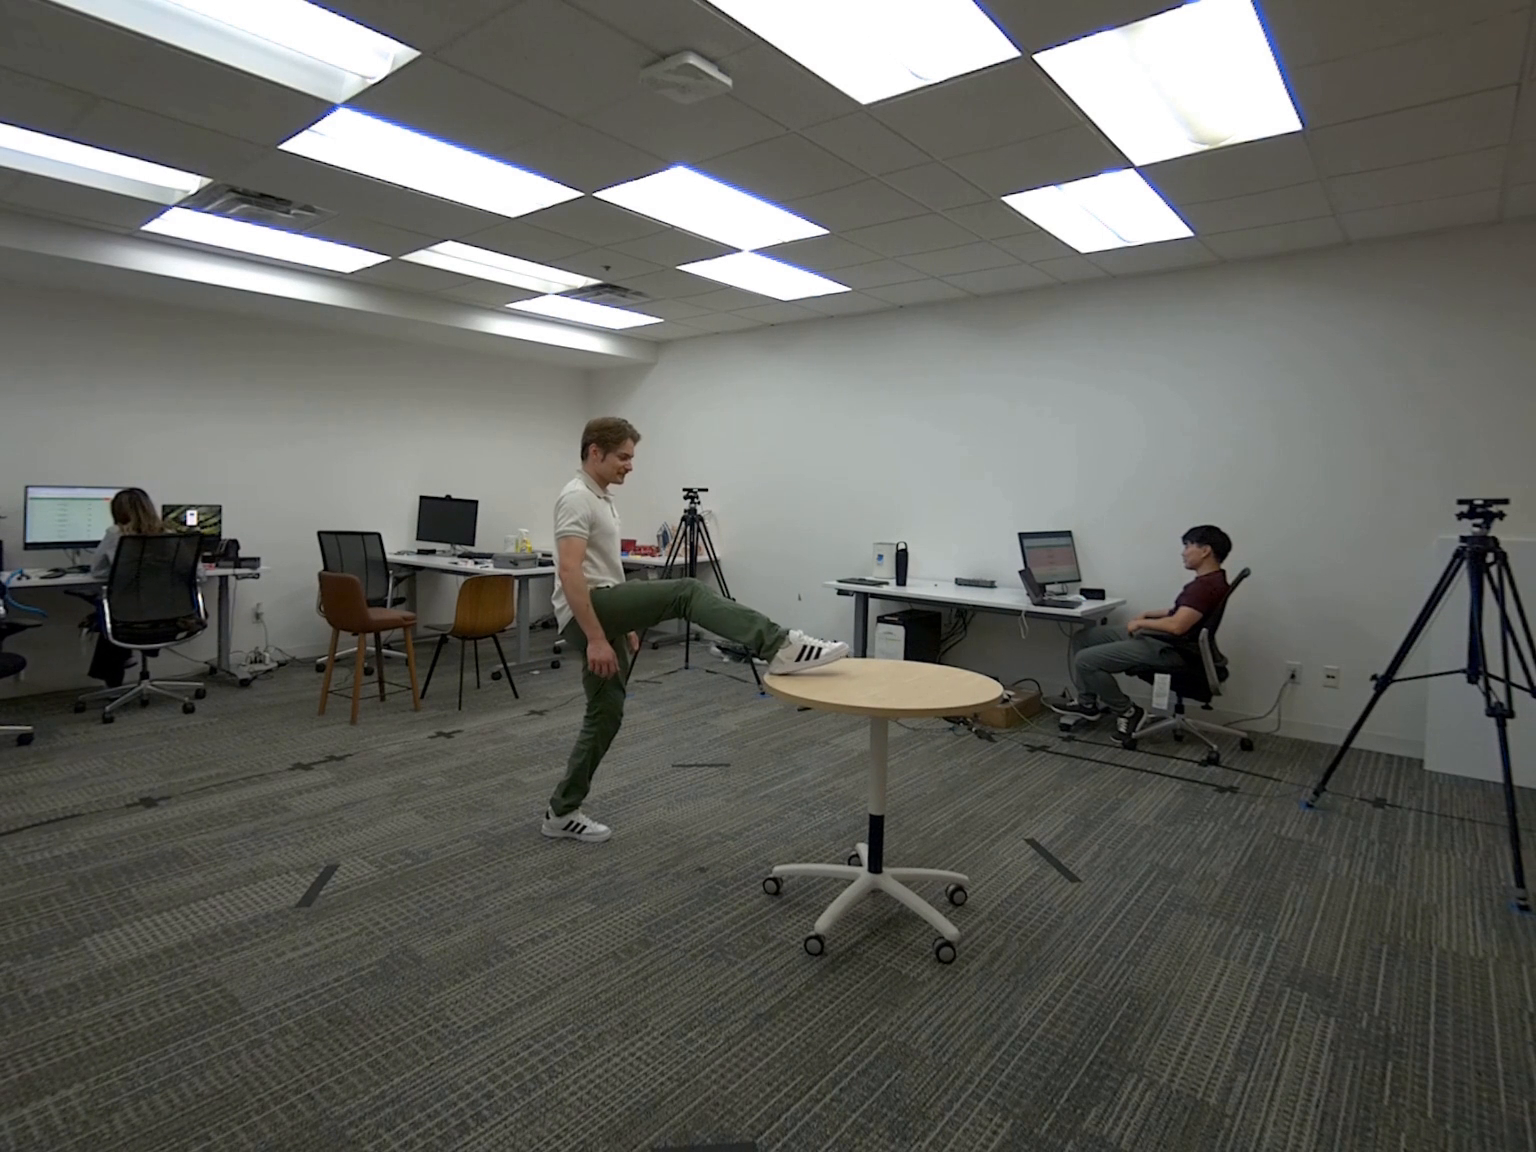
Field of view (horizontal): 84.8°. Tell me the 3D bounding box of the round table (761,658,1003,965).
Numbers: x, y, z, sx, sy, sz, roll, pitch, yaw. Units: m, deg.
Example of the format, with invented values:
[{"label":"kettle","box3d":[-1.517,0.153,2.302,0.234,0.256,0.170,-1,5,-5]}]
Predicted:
[{"label":"round table","box3d":[0.347,0.728,2.798,0.763,0.791,0.768,1,4,-2]}]
